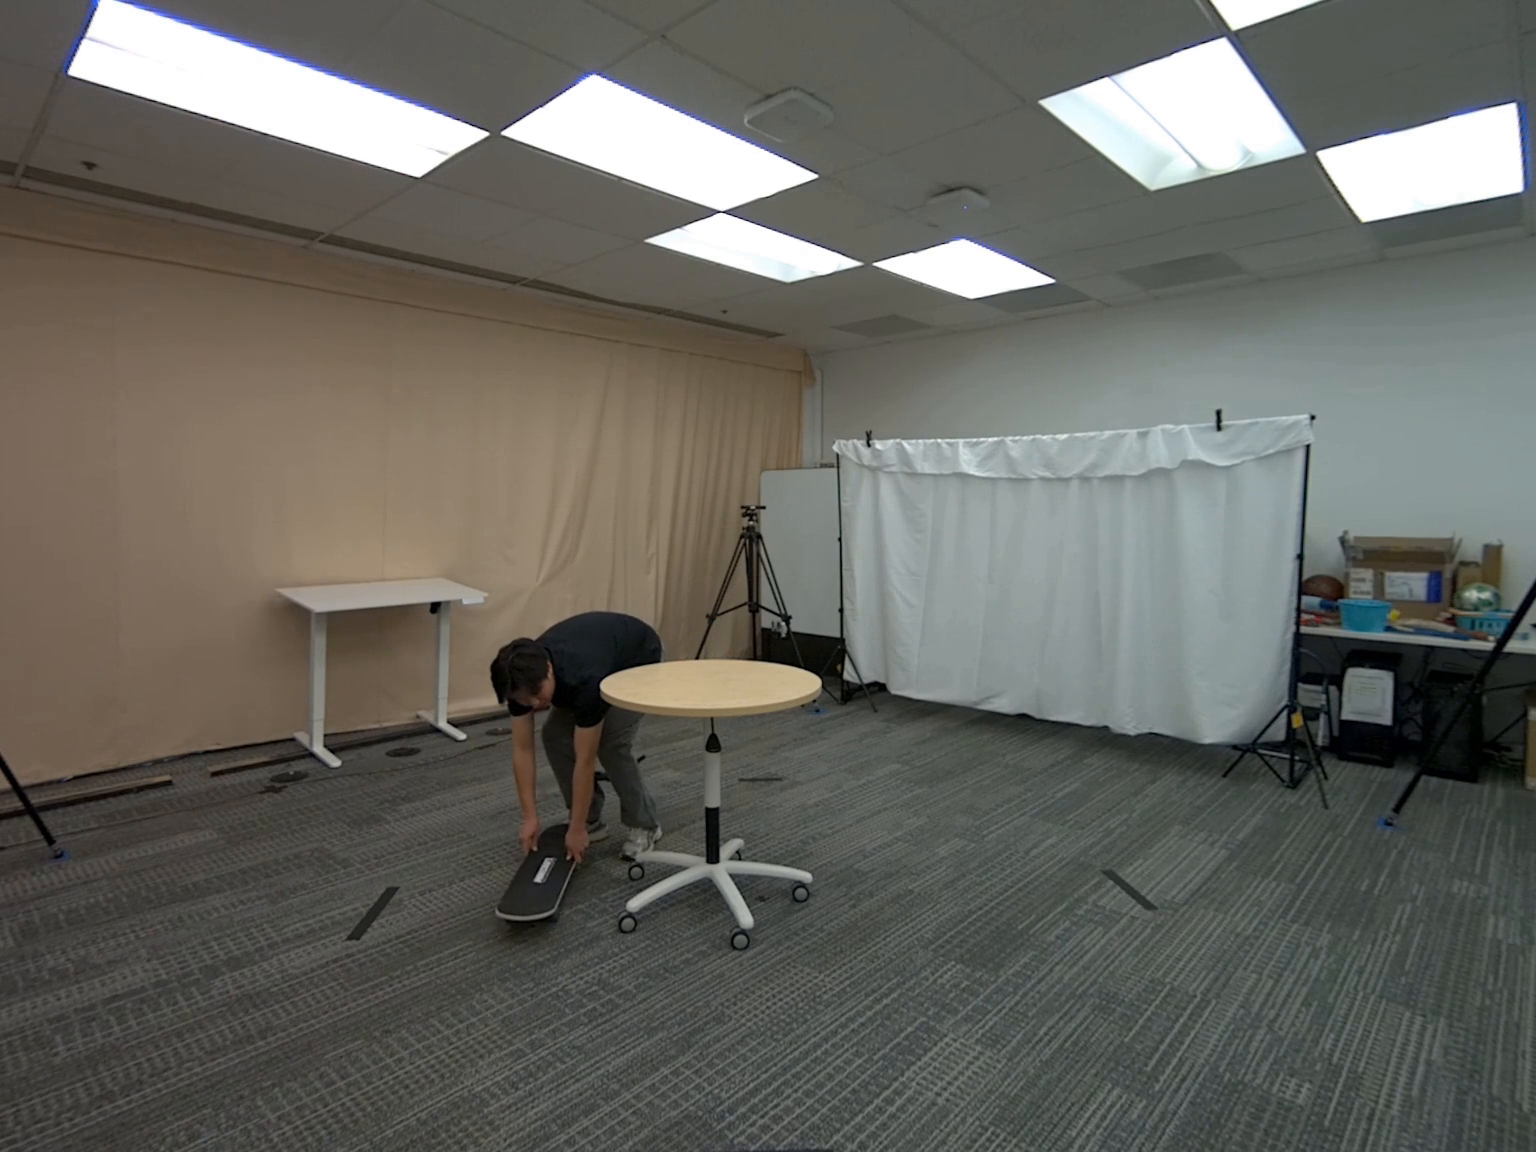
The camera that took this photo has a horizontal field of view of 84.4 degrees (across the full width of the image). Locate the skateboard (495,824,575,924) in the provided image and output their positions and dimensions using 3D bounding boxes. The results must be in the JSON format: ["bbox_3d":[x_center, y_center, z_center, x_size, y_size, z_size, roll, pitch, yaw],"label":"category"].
[{"bbox_3d":[-0.799,1.083,3.031,0.193,0.110,0.788,1,4,-3],"label":"skateboard"}]
